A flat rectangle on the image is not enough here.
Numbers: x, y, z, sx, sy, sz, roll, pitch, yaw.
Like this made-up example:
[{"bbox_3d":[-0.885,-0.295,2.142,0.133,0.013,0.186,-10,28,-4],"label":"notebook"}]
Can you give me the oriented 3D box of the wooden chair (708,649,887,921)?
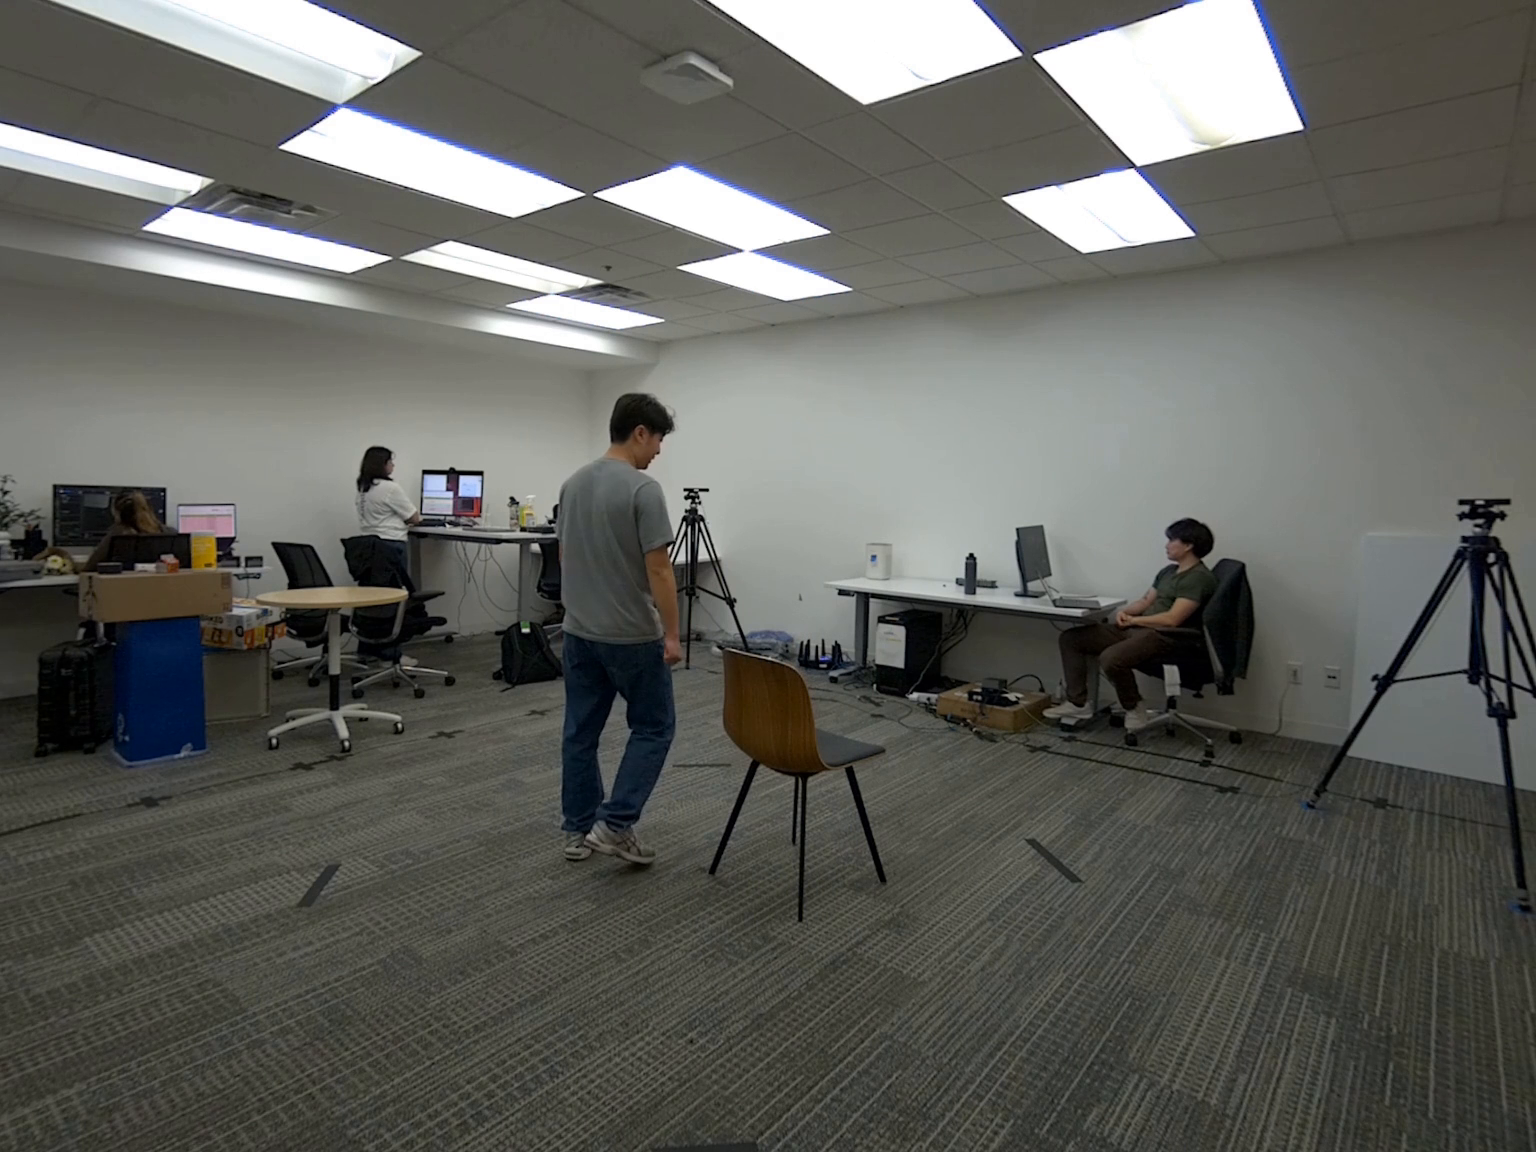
[{"bbox_3d":[0.111,0.658,3.031,0.509,0.872,0.494,-7,8,-43],"label":"wooden chair"}]
